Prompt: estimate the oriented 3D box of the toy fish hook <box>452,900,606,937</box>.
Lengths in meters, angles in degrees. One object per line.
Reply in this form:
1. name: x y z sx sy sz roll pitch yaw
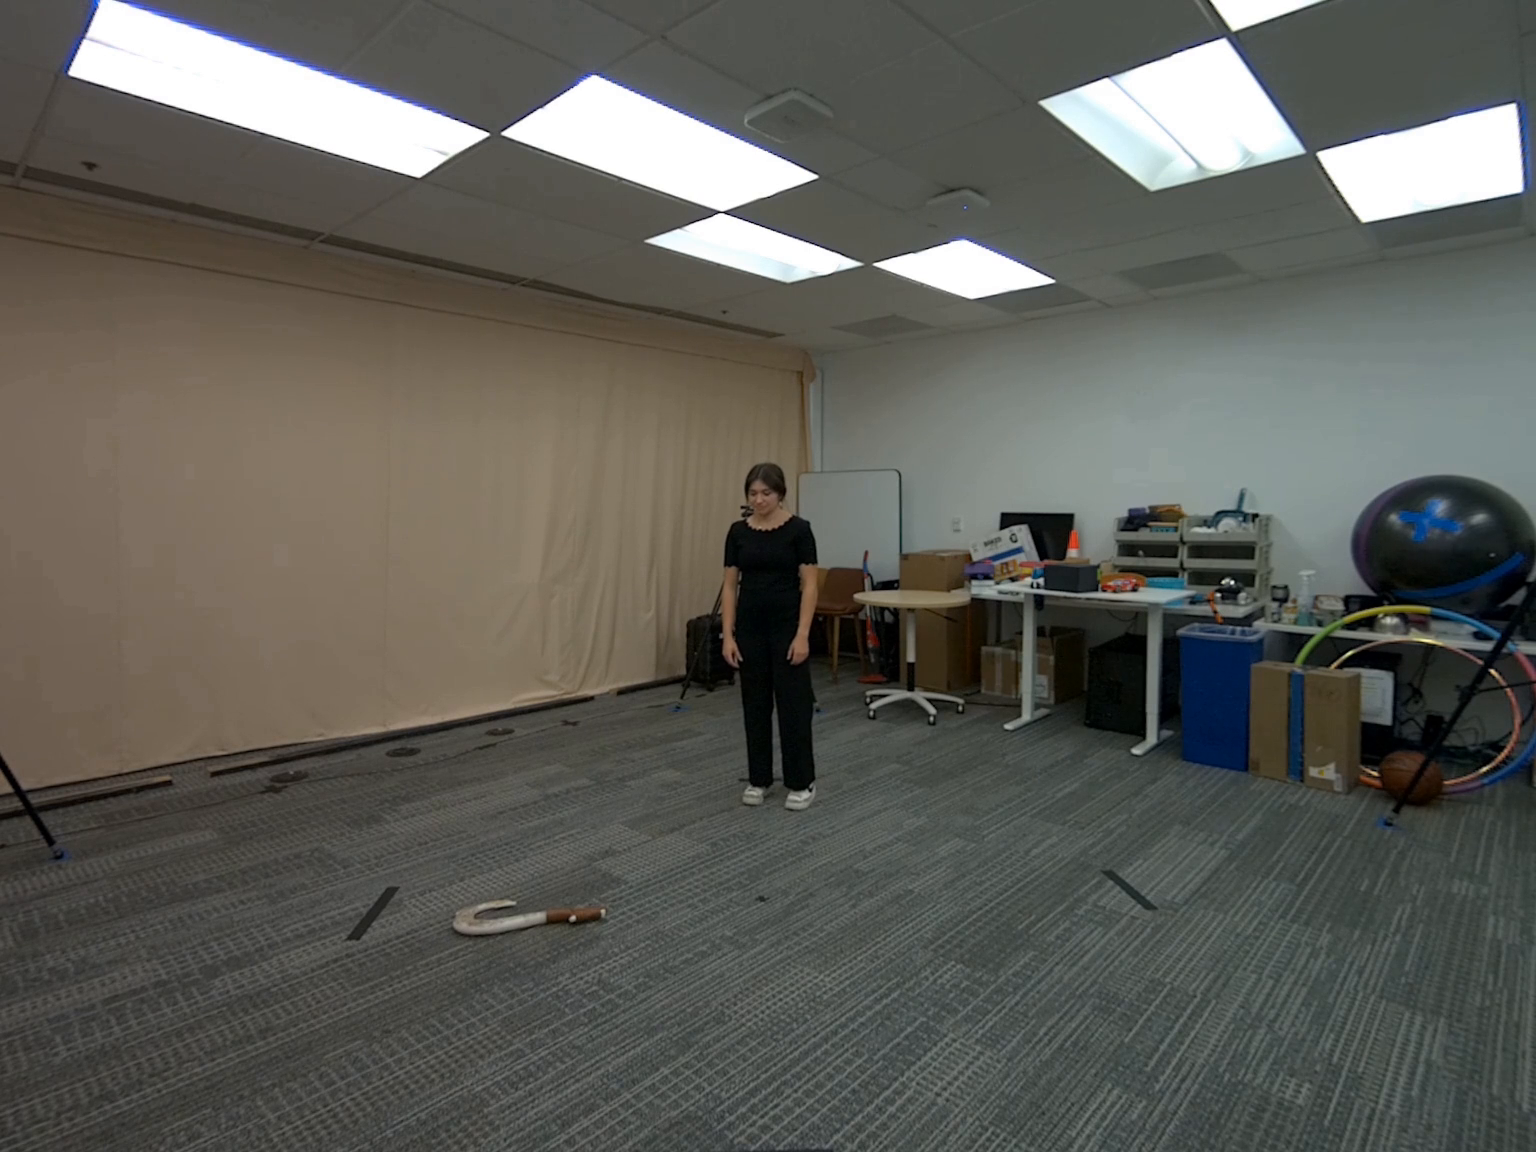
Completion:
1. toy fish hook: -0.802 1.137 2.851 0.502 0.048 0.227 -1 6 -9
